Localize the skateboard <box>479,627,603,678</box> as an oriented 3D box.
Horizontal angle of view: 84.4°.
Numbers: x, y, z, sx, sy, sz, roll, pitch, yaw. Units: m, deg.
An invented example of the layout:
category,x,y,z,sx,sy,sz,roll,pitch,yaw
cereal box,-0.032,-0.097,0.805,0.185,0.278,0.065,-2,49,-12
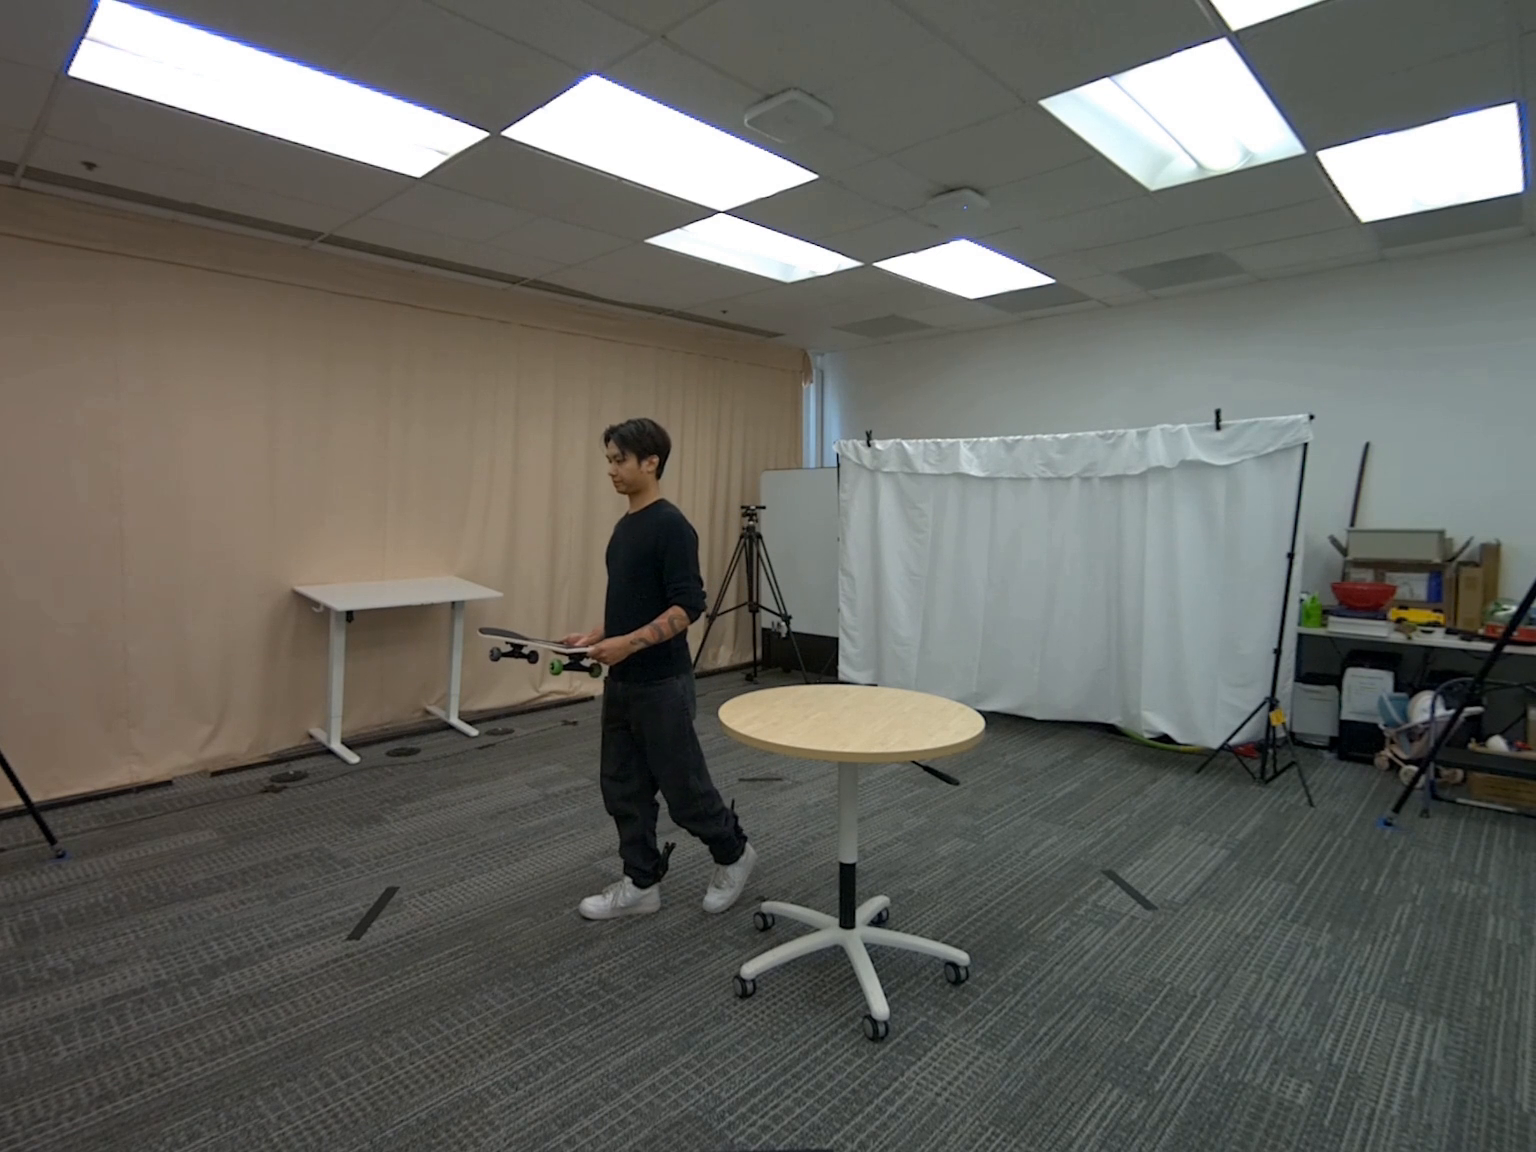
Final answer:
category,x,y,z,sx,sy,sz,roll,pitch,yaw
skateboard,-0.753,0.269,2.881,0.811,0.110,0.187,2,-7,44
